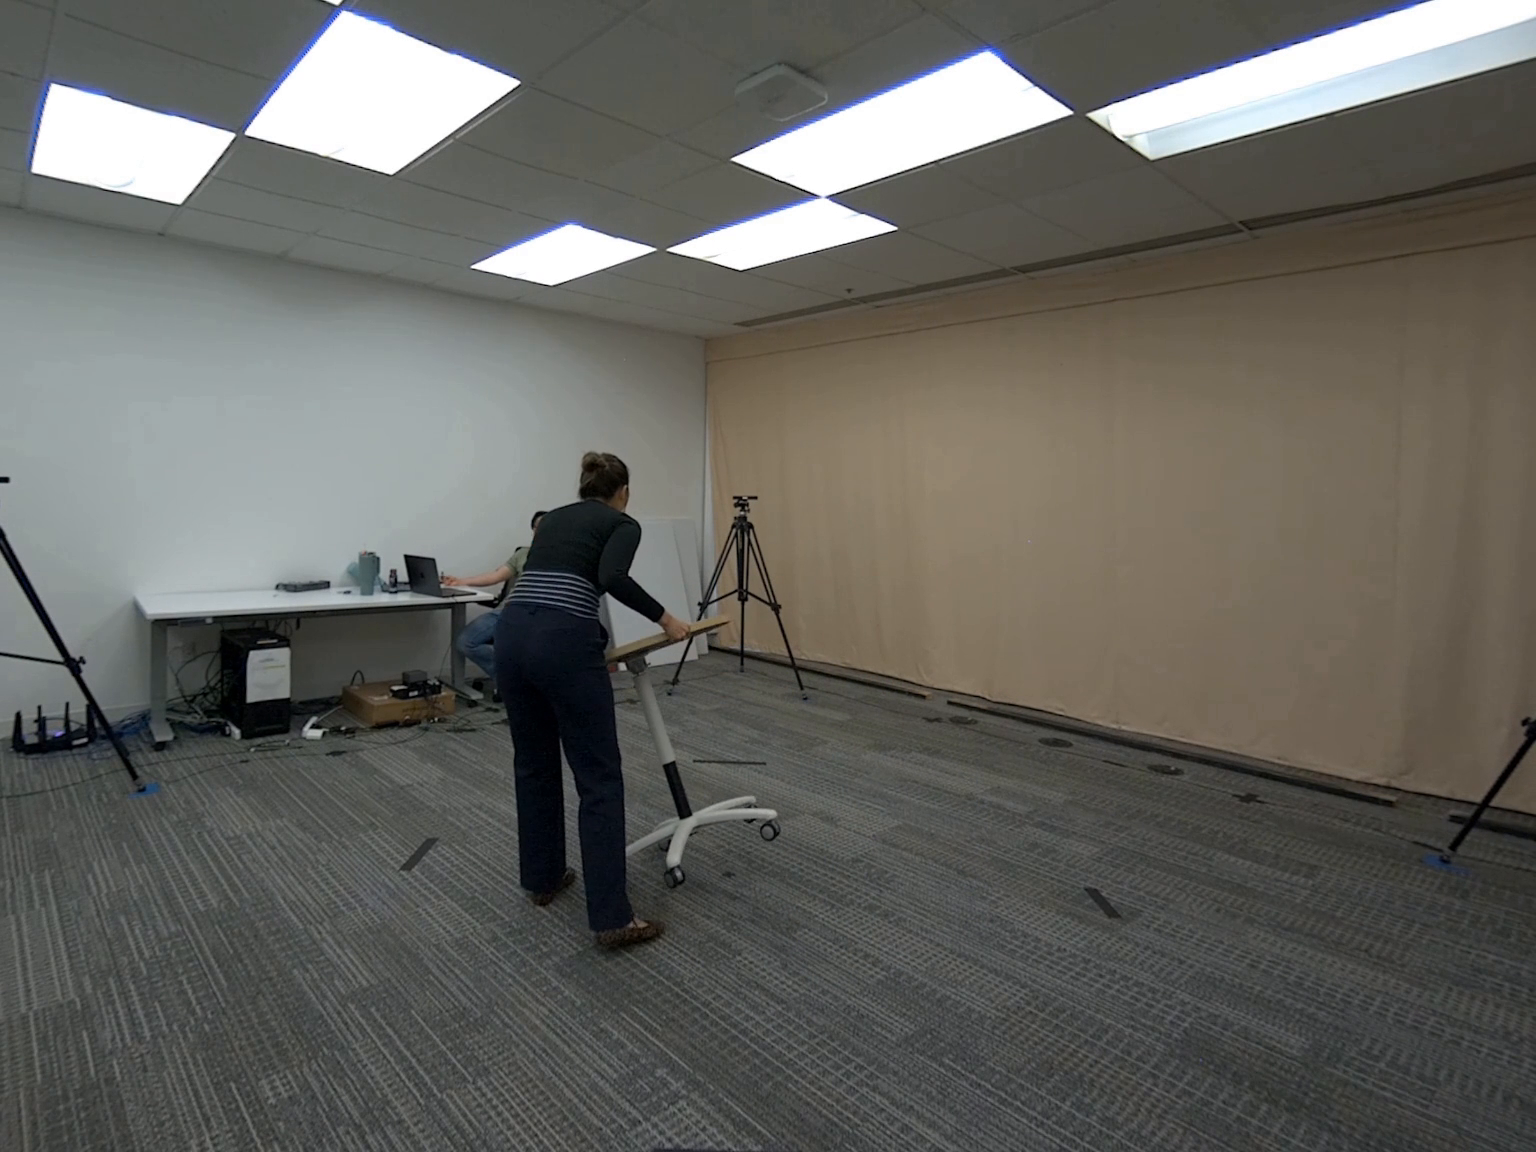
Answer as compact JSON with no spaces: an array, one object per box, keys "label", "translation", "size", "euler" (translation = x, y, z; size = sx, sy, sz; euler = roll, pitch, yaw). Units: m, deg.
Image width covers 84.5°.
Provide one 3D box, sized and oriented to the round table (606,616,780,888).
[{"label":"round table","translation":[-0.374,0.642,3.080],"size":[0.763,0.799,0.761],"euler":[-18,-5,-3]}]
